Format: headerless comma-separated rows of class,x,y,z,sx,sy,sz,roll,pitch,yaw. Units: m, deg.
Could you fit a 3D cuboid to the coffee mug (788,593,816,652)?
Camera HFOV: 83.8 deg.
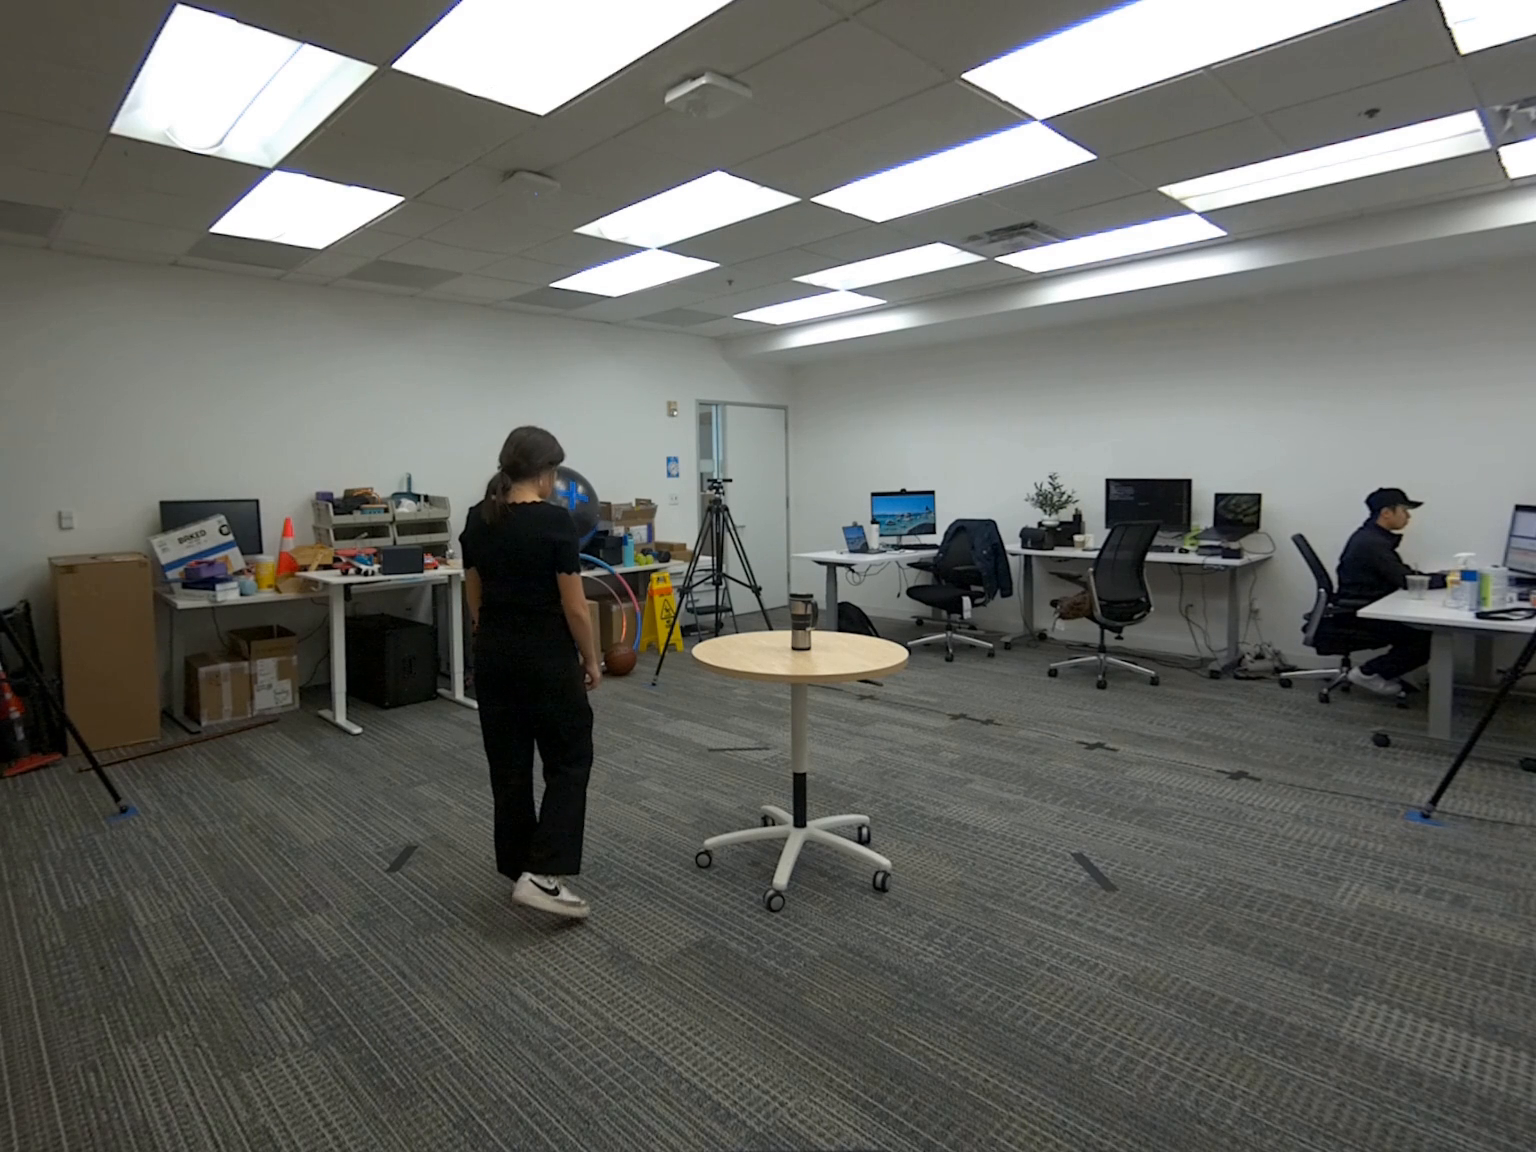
coffee mug,0.113,0.165,3.040,0.089,0.202,0.120,4,3,19
